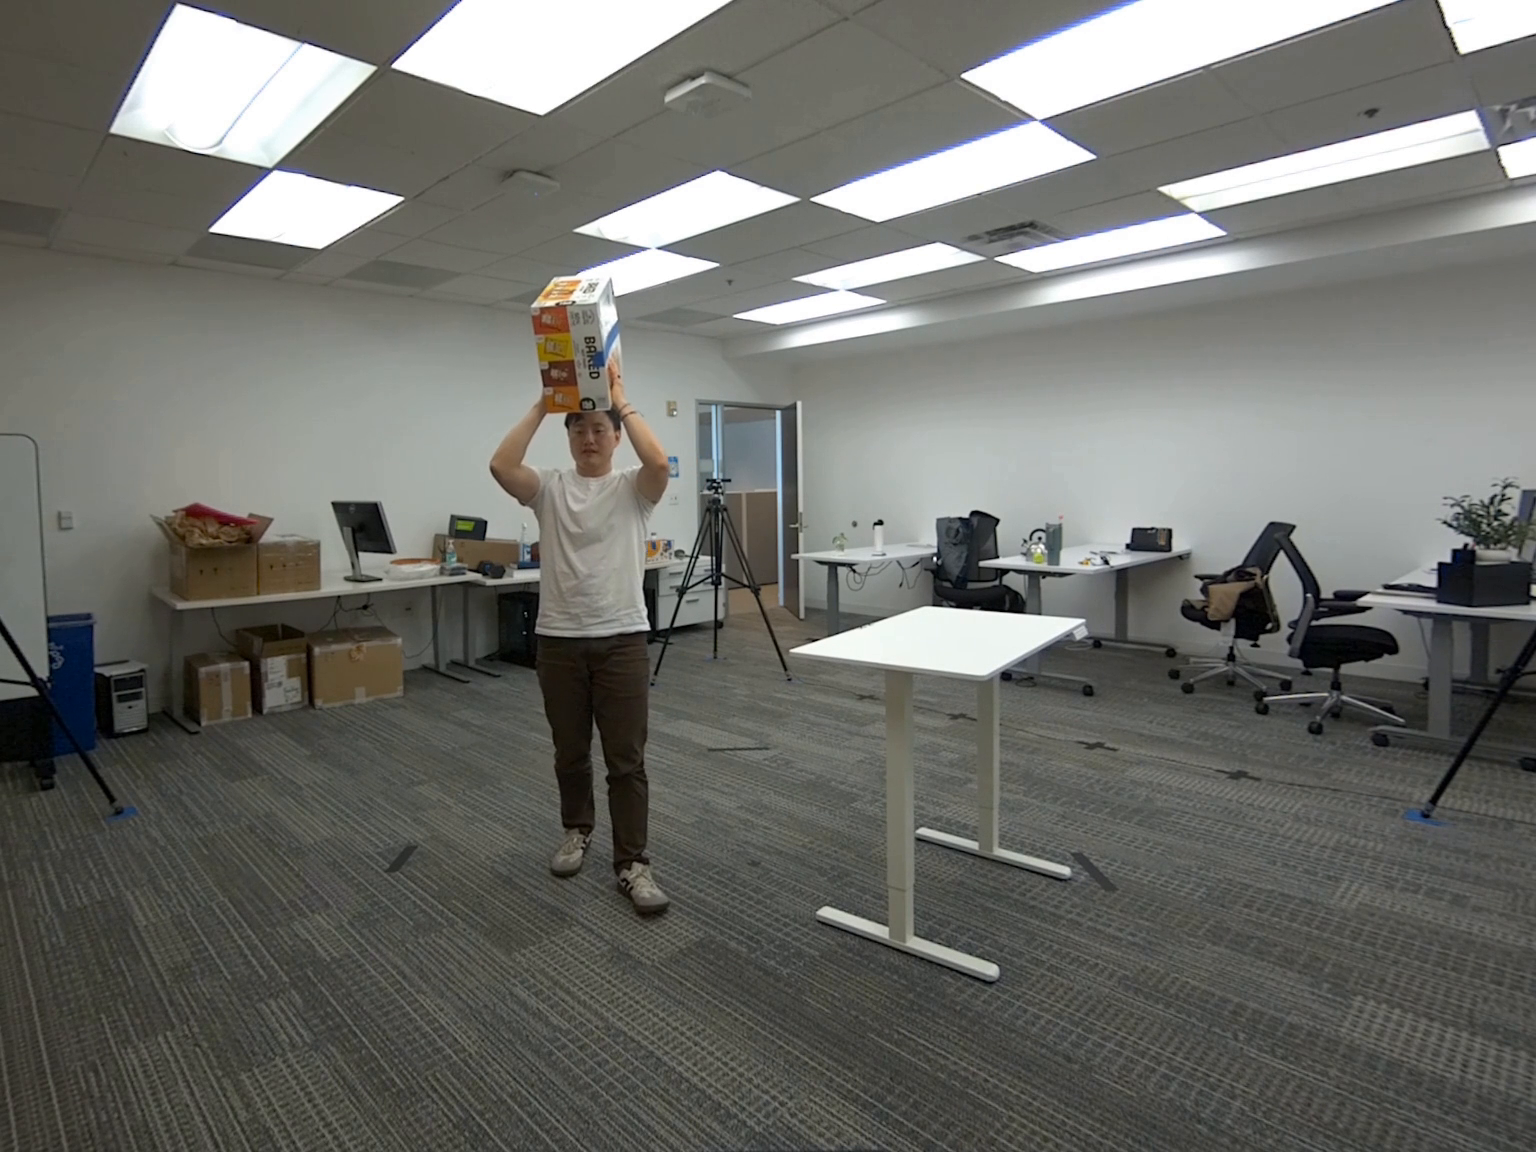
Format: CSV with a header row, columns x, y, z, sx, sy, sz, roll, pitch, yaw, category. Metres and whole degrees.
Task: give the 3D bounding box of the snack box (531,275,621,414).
x,y,z,sx,sy,sz,roll,pitch,yaw,category
-0.611,-0.768,2.796,0.206,0.332,0.415,-3,30,-1,snack box
